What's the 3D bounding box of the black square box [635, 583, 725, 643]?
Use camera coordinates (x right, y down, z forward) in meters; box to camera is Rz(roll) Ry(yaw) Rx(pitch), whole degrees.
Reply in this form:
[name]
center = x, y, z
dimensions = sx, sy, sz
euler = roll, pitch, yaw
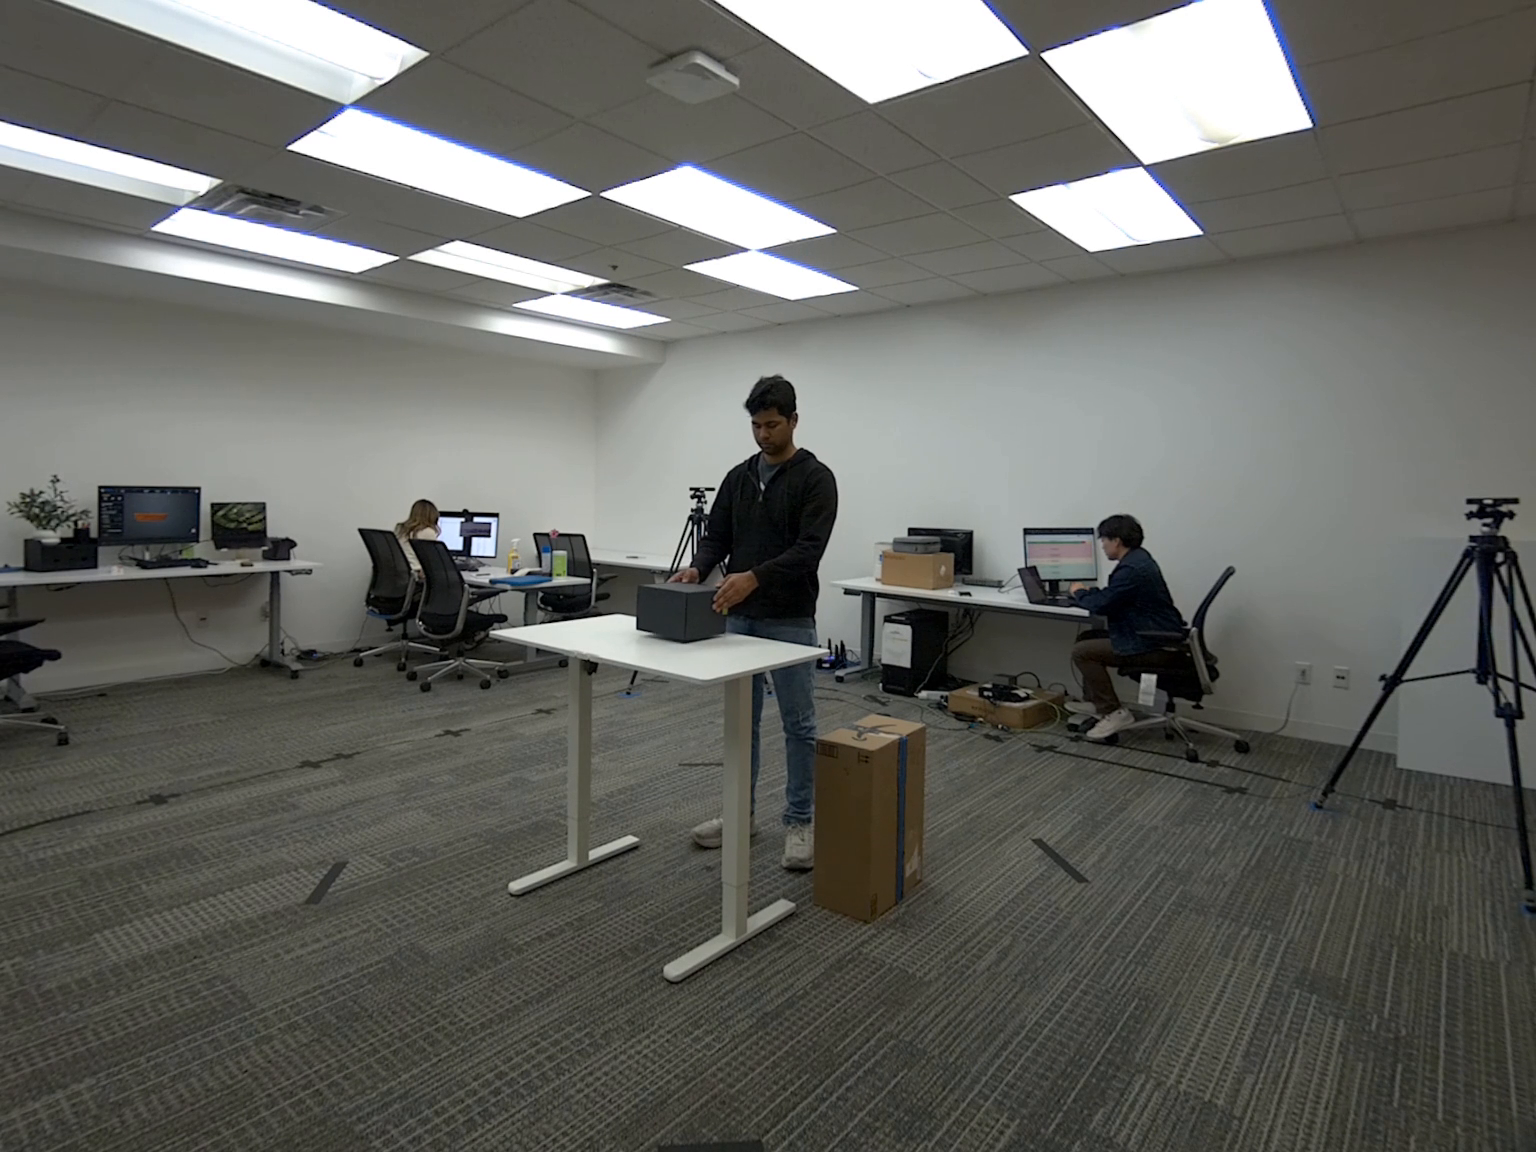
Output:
[black square box]
center = -0.296, 0.106, 2.881
dimensions = 0.236, 0.155, 0.210
euler = 6, 5, 38
